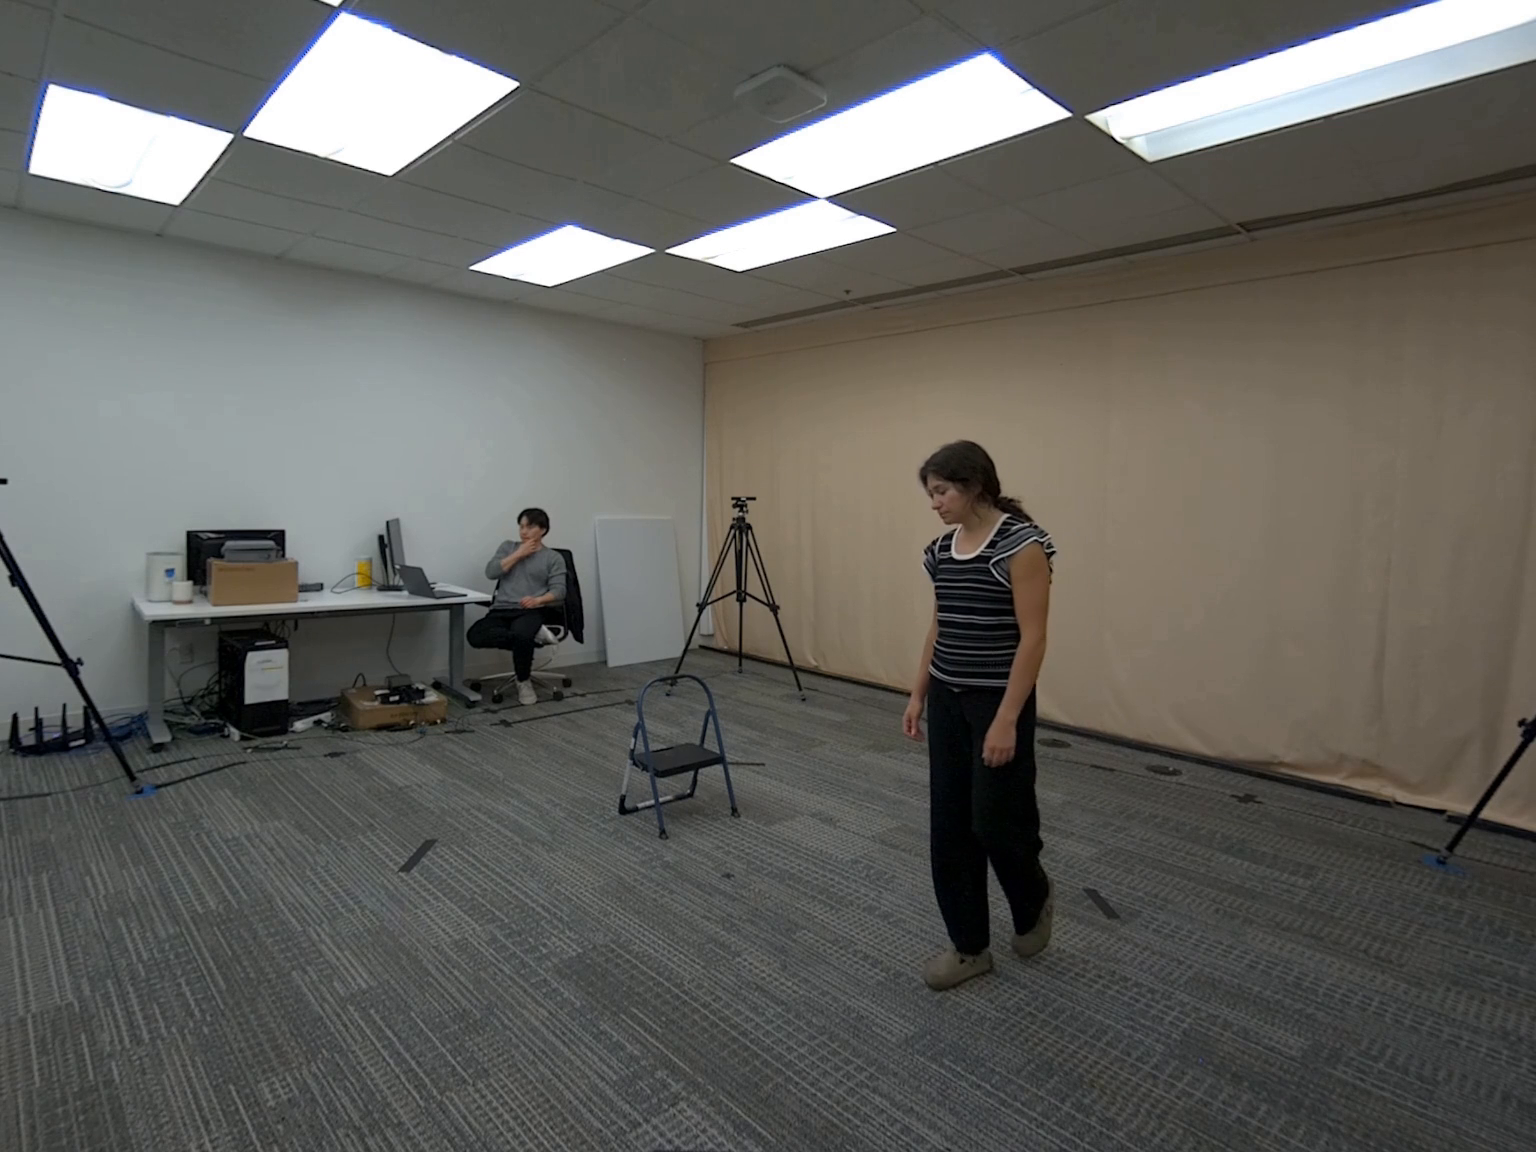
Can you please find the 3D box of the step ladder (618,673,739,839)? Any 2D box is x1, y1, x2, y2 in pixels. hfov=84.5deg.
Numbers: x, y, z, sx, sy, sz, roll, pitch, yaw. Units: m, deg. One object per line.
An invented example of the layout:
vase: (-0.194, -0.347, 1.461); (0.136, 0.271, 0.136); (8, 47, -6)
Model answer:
step ladder: (-0.391, 0.751, 3.678); (0.420, 0.605, 0.358); (-1, 4, -43)
